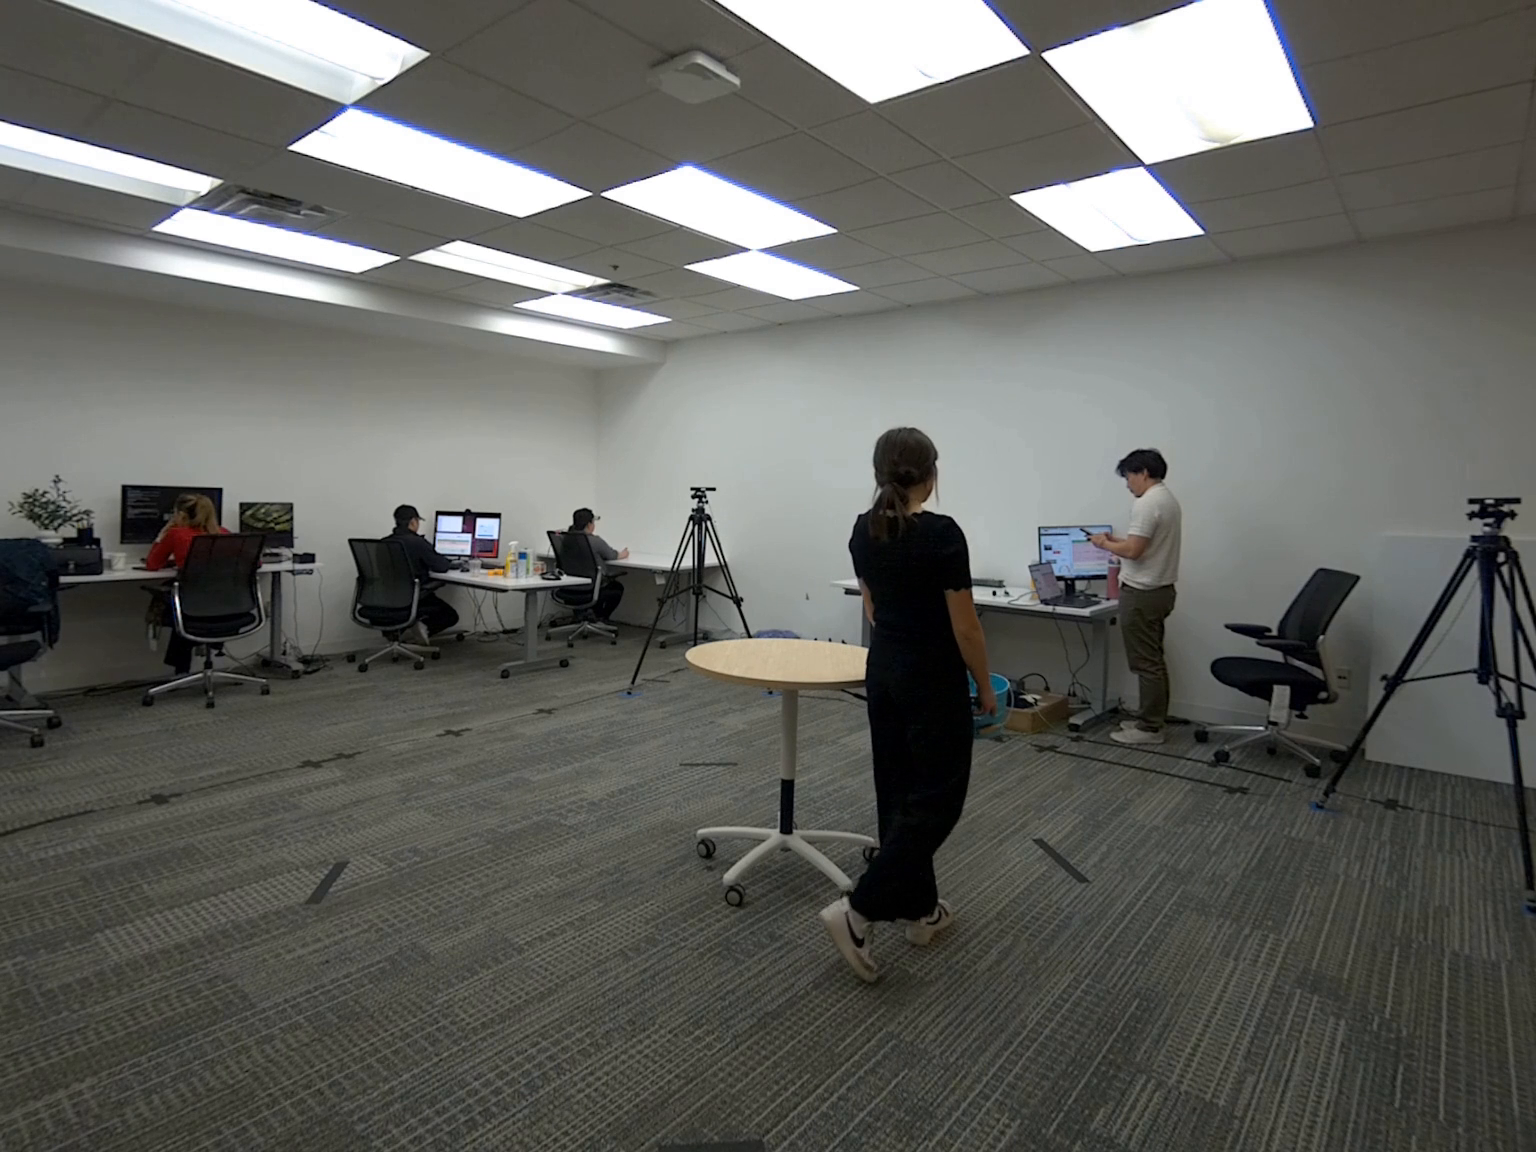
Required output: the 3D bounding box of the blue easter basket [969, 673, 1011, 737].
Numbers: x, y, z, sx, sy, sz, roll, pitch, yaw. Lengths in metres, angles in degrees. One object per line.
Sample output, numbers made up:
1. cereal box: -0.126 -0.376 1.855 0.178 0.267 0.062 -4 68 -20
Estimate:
1. blue easter basket: 0.653 0.426 2.727 0.243 0.154 0.246 -4 9 -1
